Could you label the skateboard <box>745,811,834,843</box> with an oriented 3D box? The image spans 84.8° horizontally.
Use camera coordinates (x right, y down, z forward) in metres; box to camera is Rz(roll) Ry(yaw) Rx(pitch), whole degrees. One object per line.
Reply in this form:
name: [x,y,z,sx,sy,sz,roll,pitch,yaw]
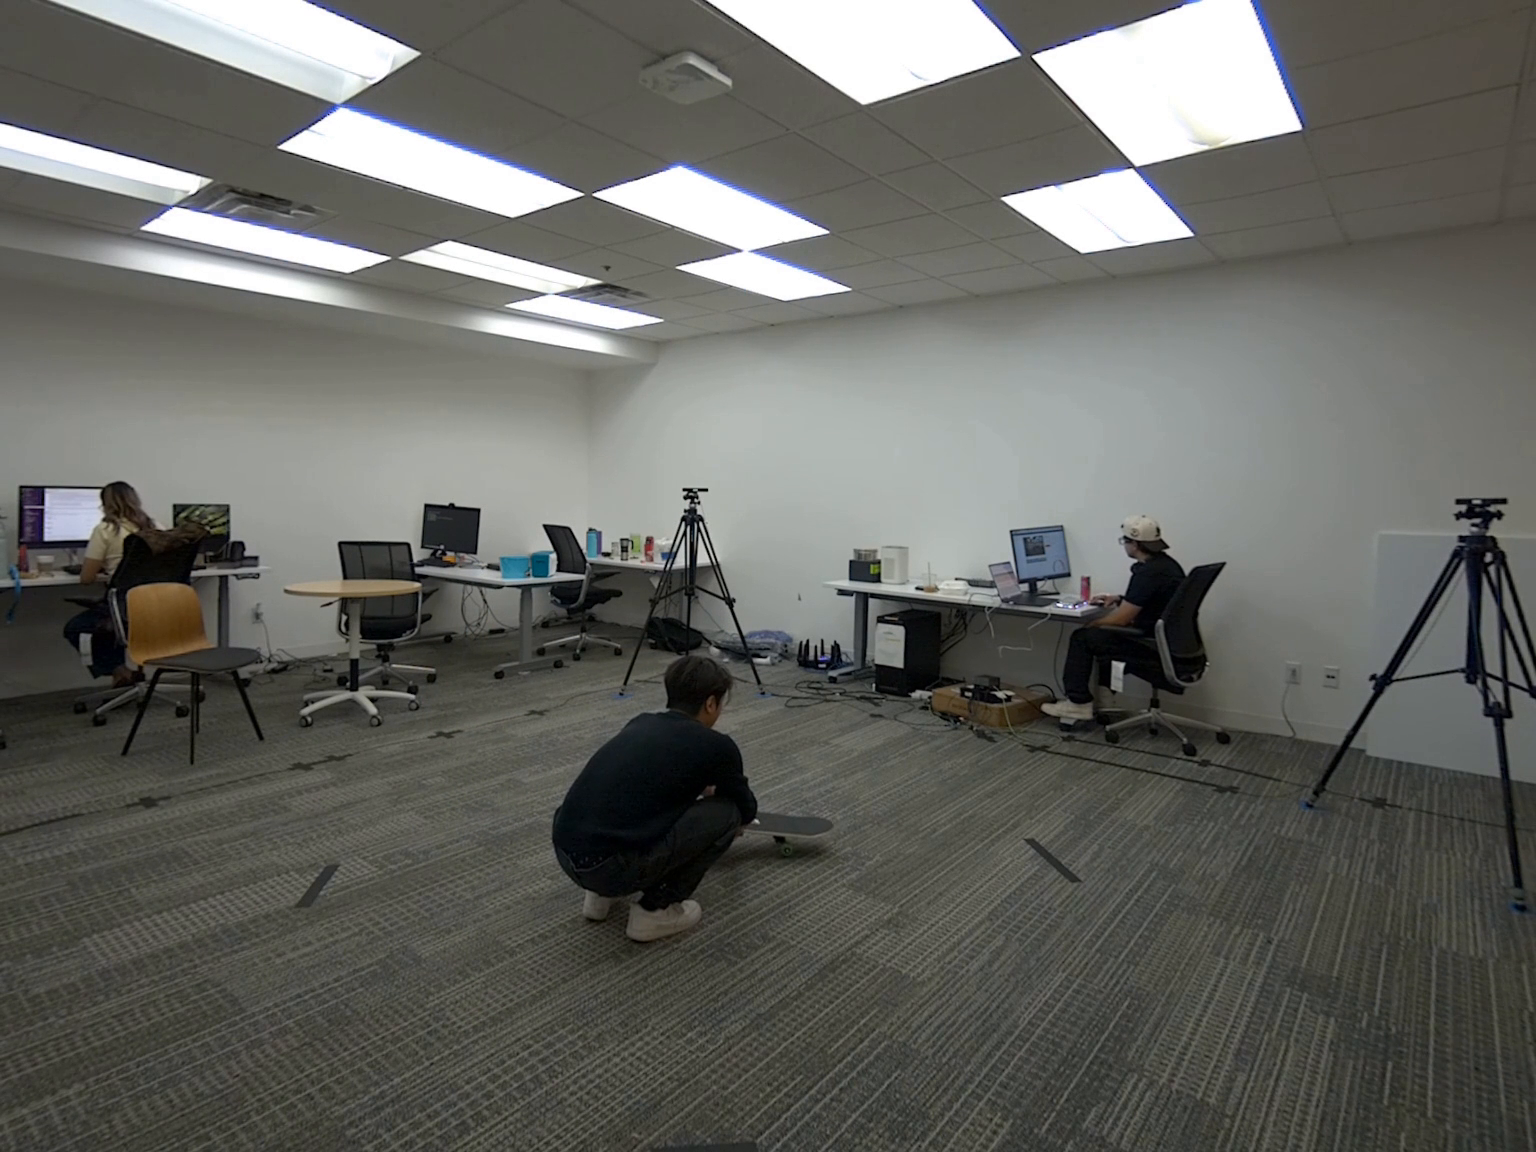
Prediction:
skateboard: [-0.143,0.964,3.261,0.778,0.110,0.196,7,6,-8]
